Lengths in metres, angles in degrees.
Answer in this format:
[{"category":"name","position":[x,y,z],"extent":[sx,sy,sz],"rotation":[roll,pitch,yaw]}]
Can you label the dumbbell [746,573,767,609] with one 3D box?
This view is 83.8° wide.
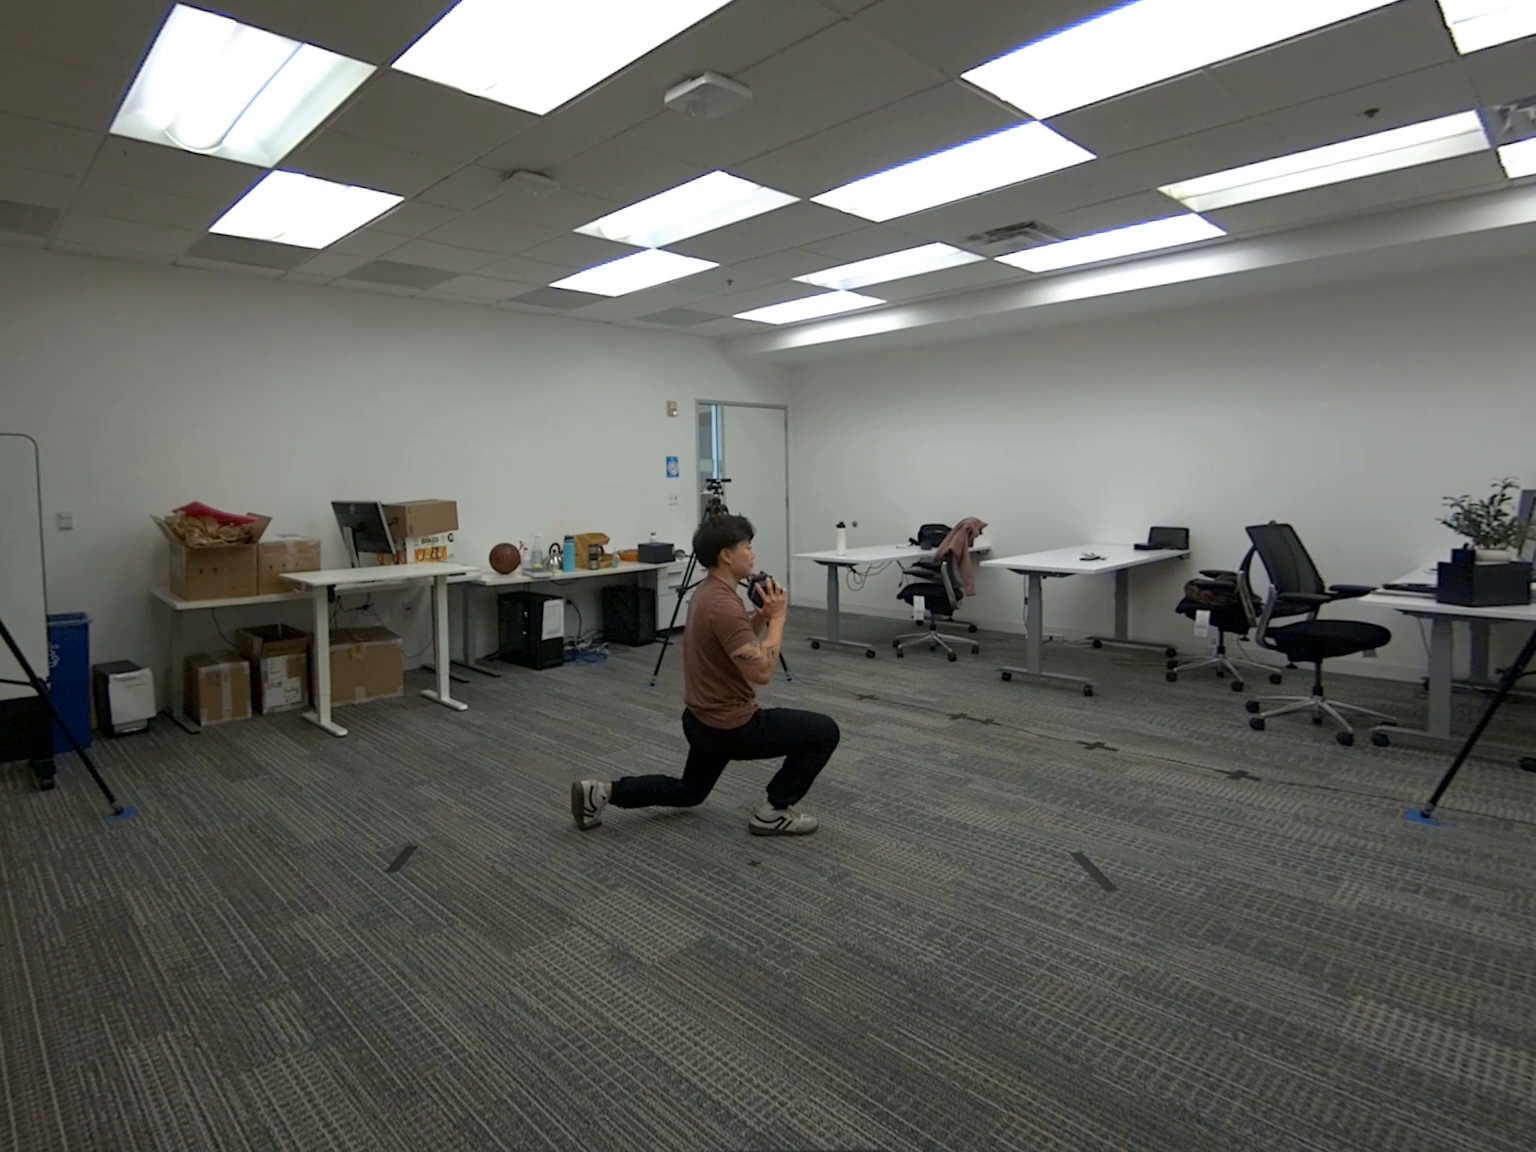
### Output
[{"category":"dumbbell","position":[-0.040,0.060,3.375],"extent":[0.123,0.107,0.297],"rotation":[-19,12,-2]}]
